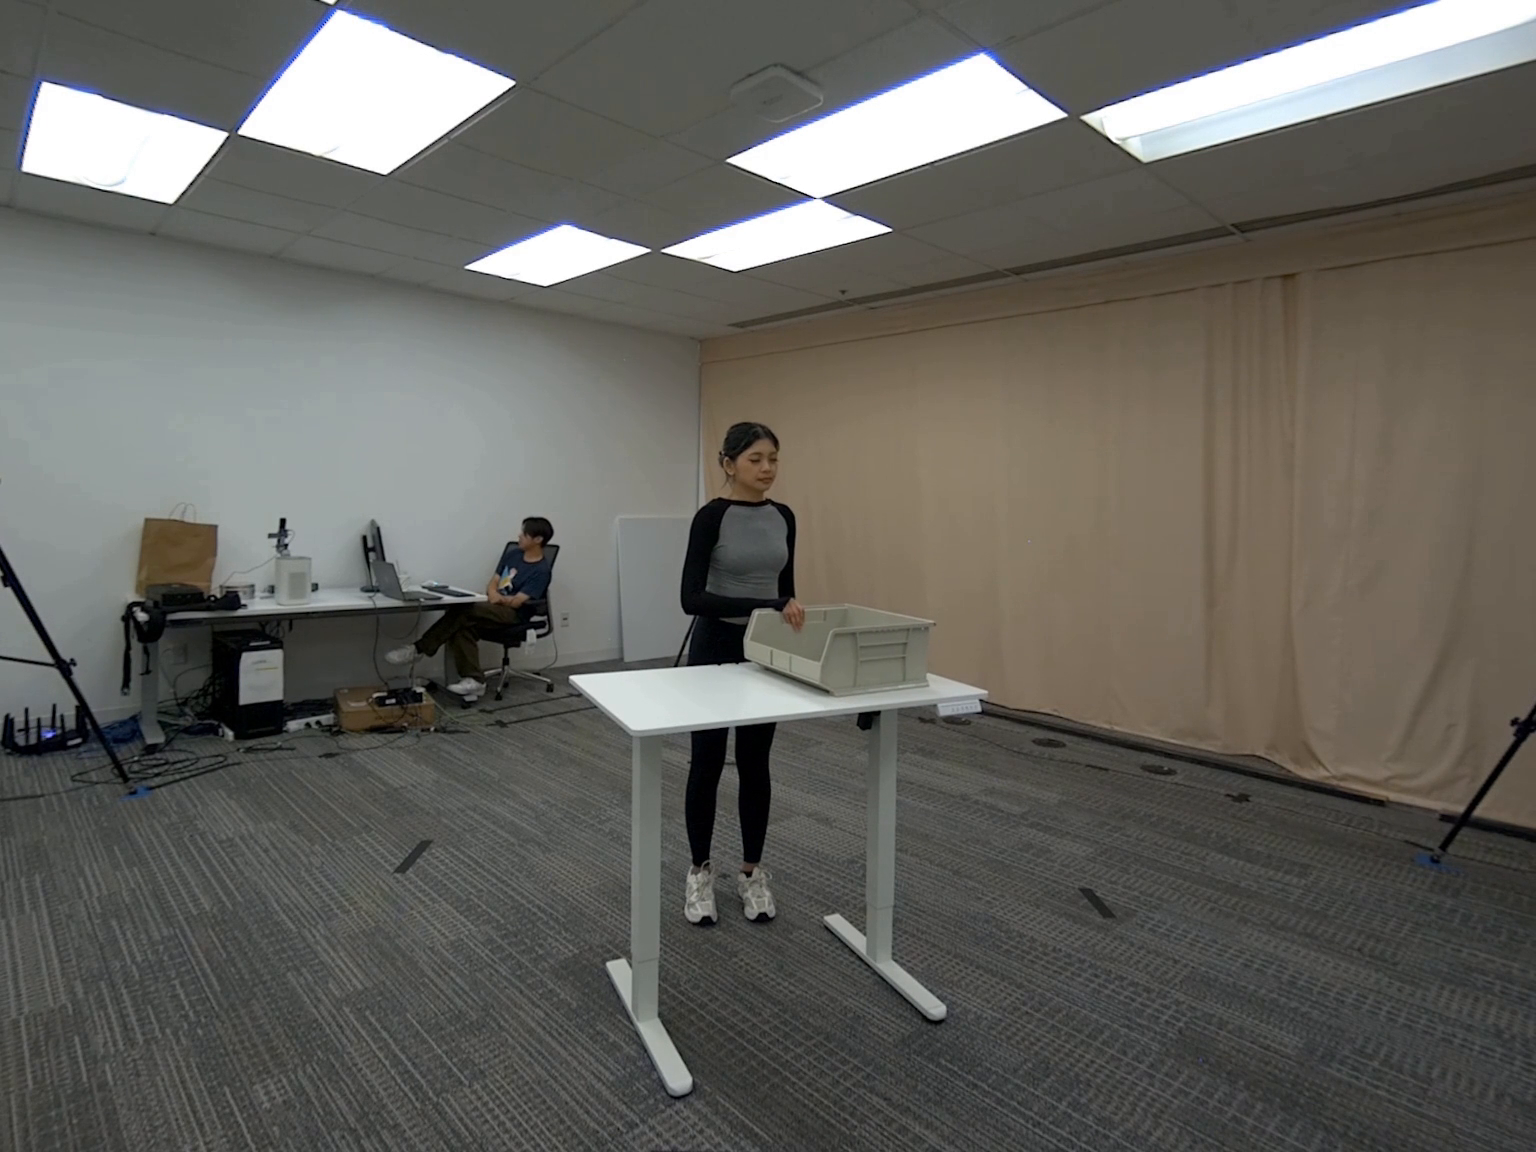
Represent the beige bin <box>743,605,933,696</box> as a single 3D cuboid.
[{"bbox_3d":[0.189,0.206,2.415,0.370,0.188,0.431,0,4,-29],"label":"beige bin"}]
